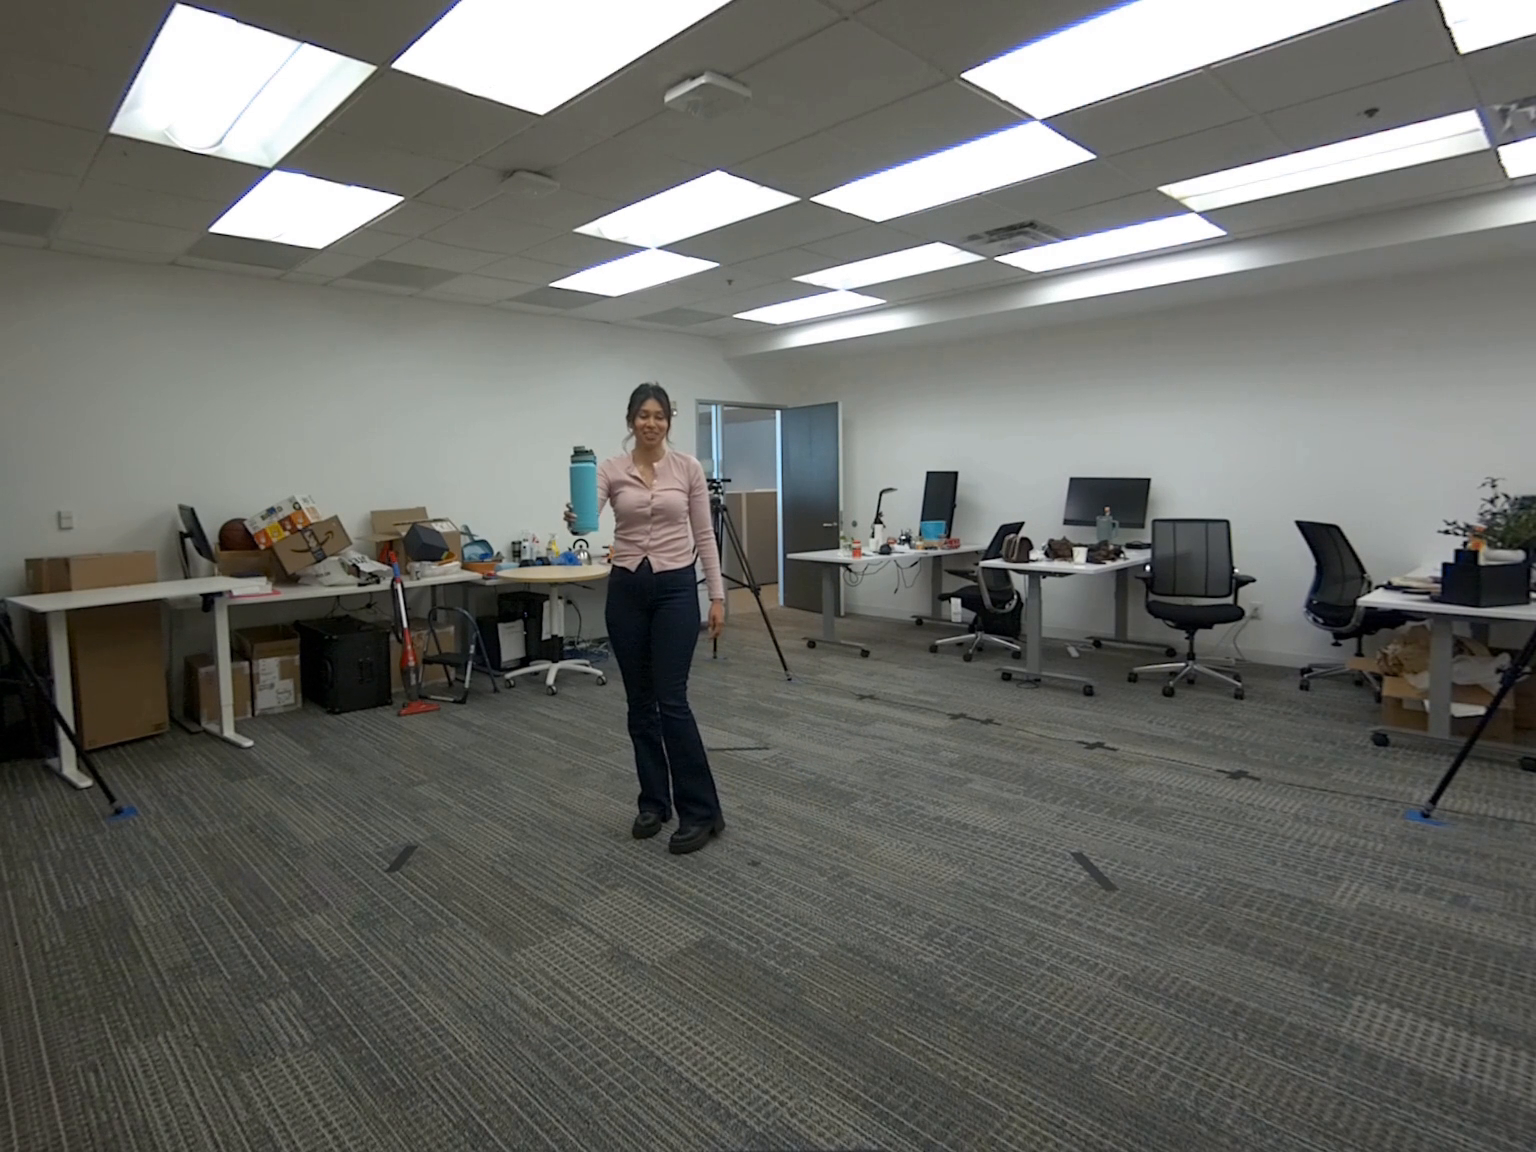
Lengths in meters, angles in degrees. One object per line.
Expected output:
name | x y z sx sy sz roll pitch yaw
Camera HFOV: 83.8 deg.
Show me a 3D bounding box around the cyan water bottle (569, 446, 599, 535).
cyan water bottle | -0.620 -0.292 2.848 0.092 0.283 0.092 -3 1 -2
